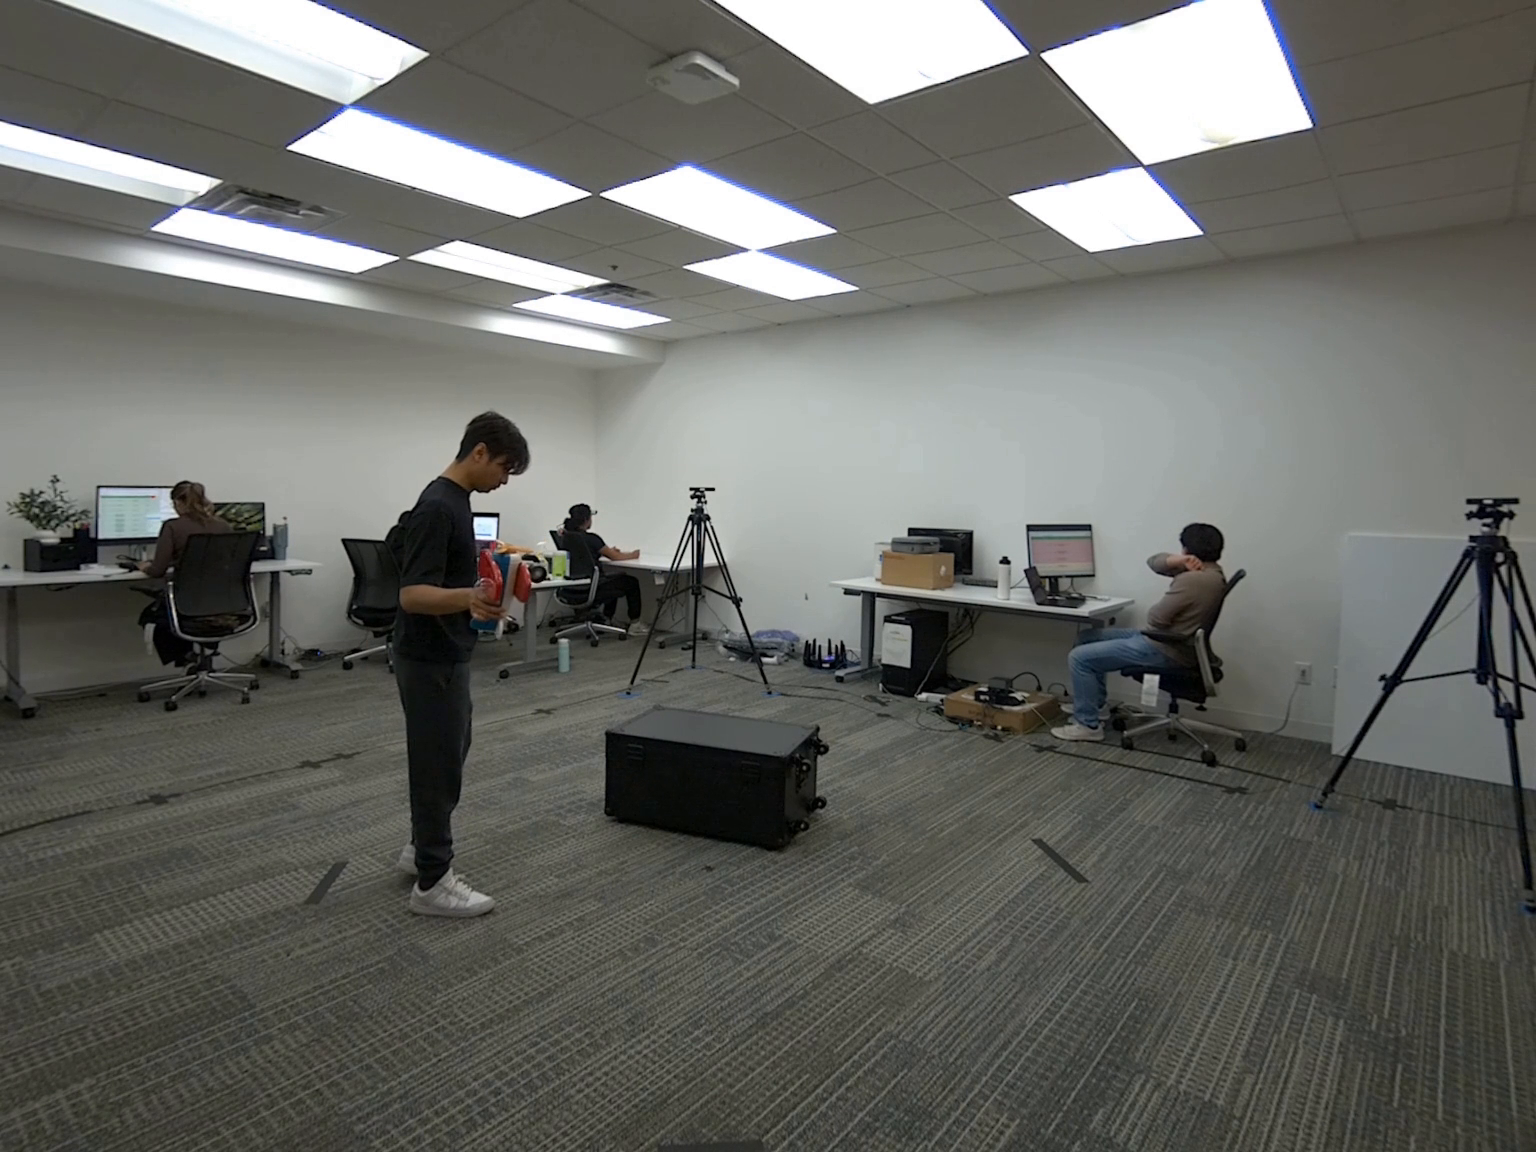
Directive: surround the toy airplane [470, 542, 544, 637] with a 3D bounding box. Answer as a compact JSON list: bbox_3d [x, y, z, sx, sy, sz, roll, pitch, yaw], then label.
[{"bbox_3d":[-0.734,0.039,2.358,0.151,0.262,0.257,22,-21,-32],"label":"toy airplane"}]
